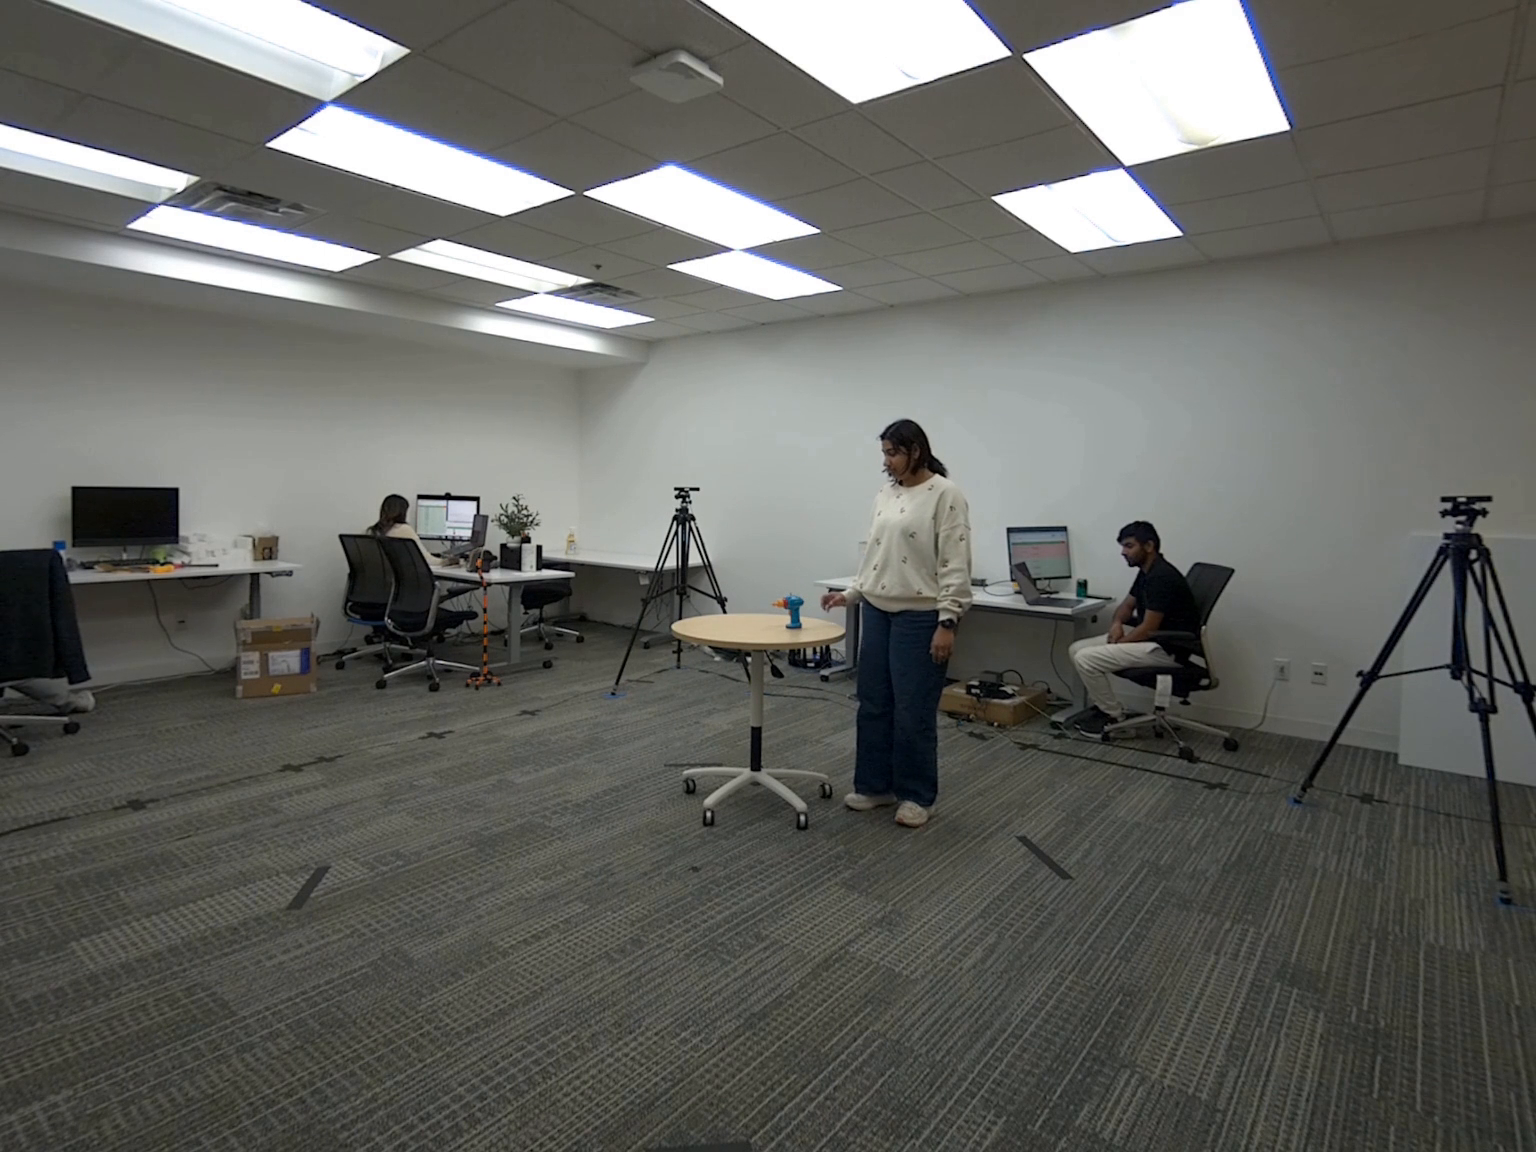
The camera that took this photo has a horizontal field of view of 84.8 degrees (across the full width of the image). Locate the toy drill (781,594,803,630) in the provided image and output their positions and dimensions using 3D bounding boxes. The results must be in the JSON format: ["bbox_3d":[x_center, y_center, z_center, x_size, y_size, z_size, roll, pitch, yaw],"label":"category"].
[{"bbox_3d":[0.078,0.153,3.737,0.165,0.145,0.063,-3,8,-30],"label":"toy drill"}]
